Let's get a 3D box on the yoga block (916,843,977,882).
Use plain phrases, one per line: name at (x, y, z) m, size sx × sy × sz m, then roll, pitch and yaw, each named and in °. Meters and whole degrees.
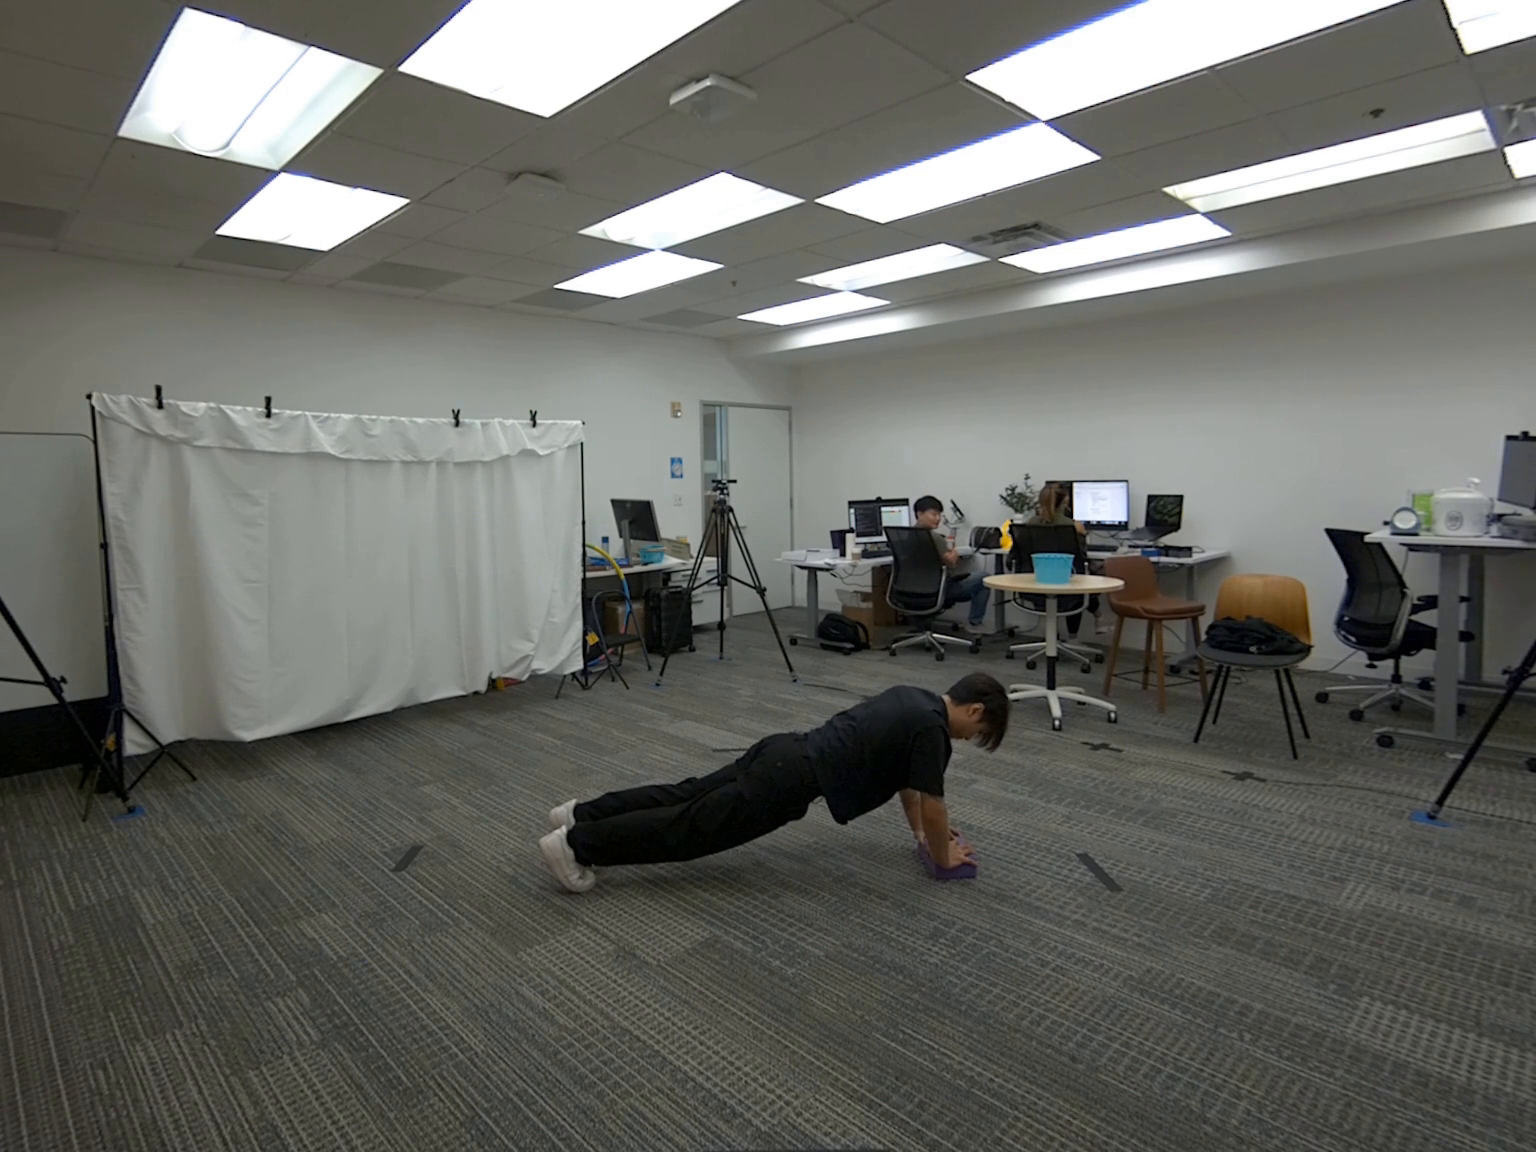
yoga block at (0.643, 1.005, 3.066) m, size 0.148 × 0.076 × 0.232 m, roll -1°, pitch 8°, yaw -8°
